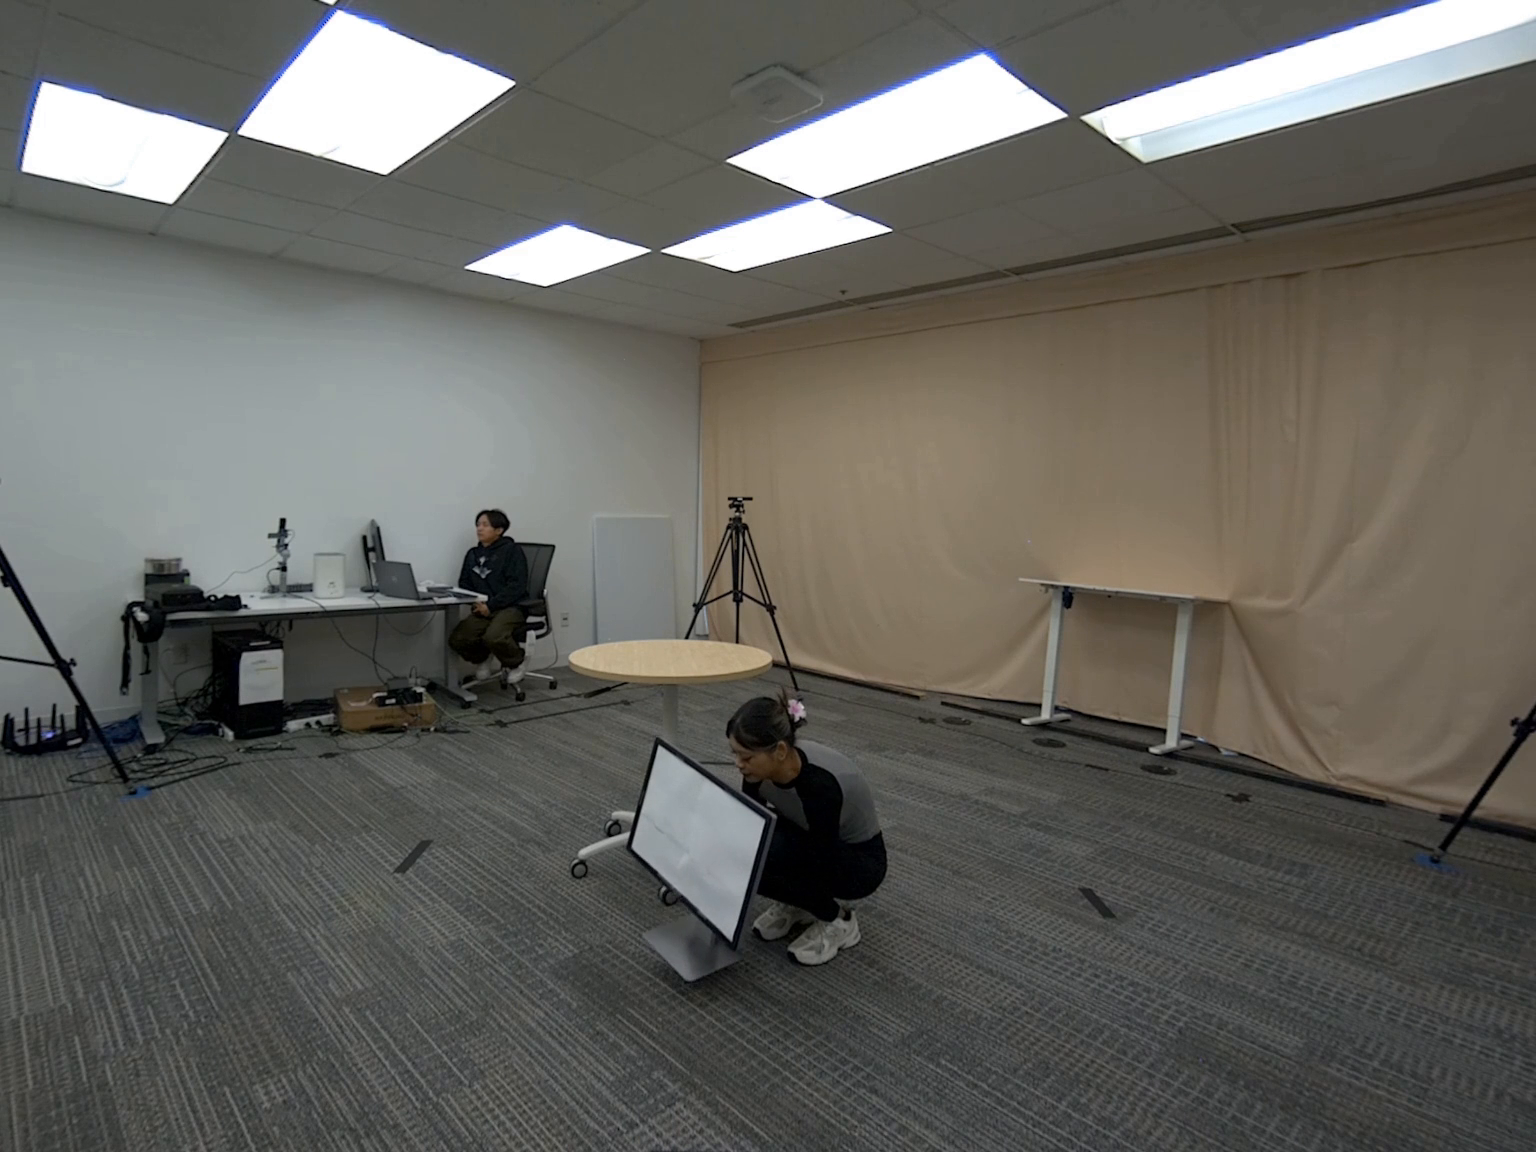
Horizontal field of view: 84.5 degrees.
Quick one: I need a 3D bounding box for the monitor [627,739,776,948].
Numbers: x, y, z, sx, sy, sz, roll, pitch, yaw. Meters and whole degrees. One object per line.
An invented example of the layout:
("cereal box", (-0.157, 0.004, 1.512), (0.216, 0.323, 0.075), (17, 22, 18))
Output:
("monitor", (-0.190, 0.835, 2.380), (0.183, 0.520, 0.554), (0, 9, -44))
